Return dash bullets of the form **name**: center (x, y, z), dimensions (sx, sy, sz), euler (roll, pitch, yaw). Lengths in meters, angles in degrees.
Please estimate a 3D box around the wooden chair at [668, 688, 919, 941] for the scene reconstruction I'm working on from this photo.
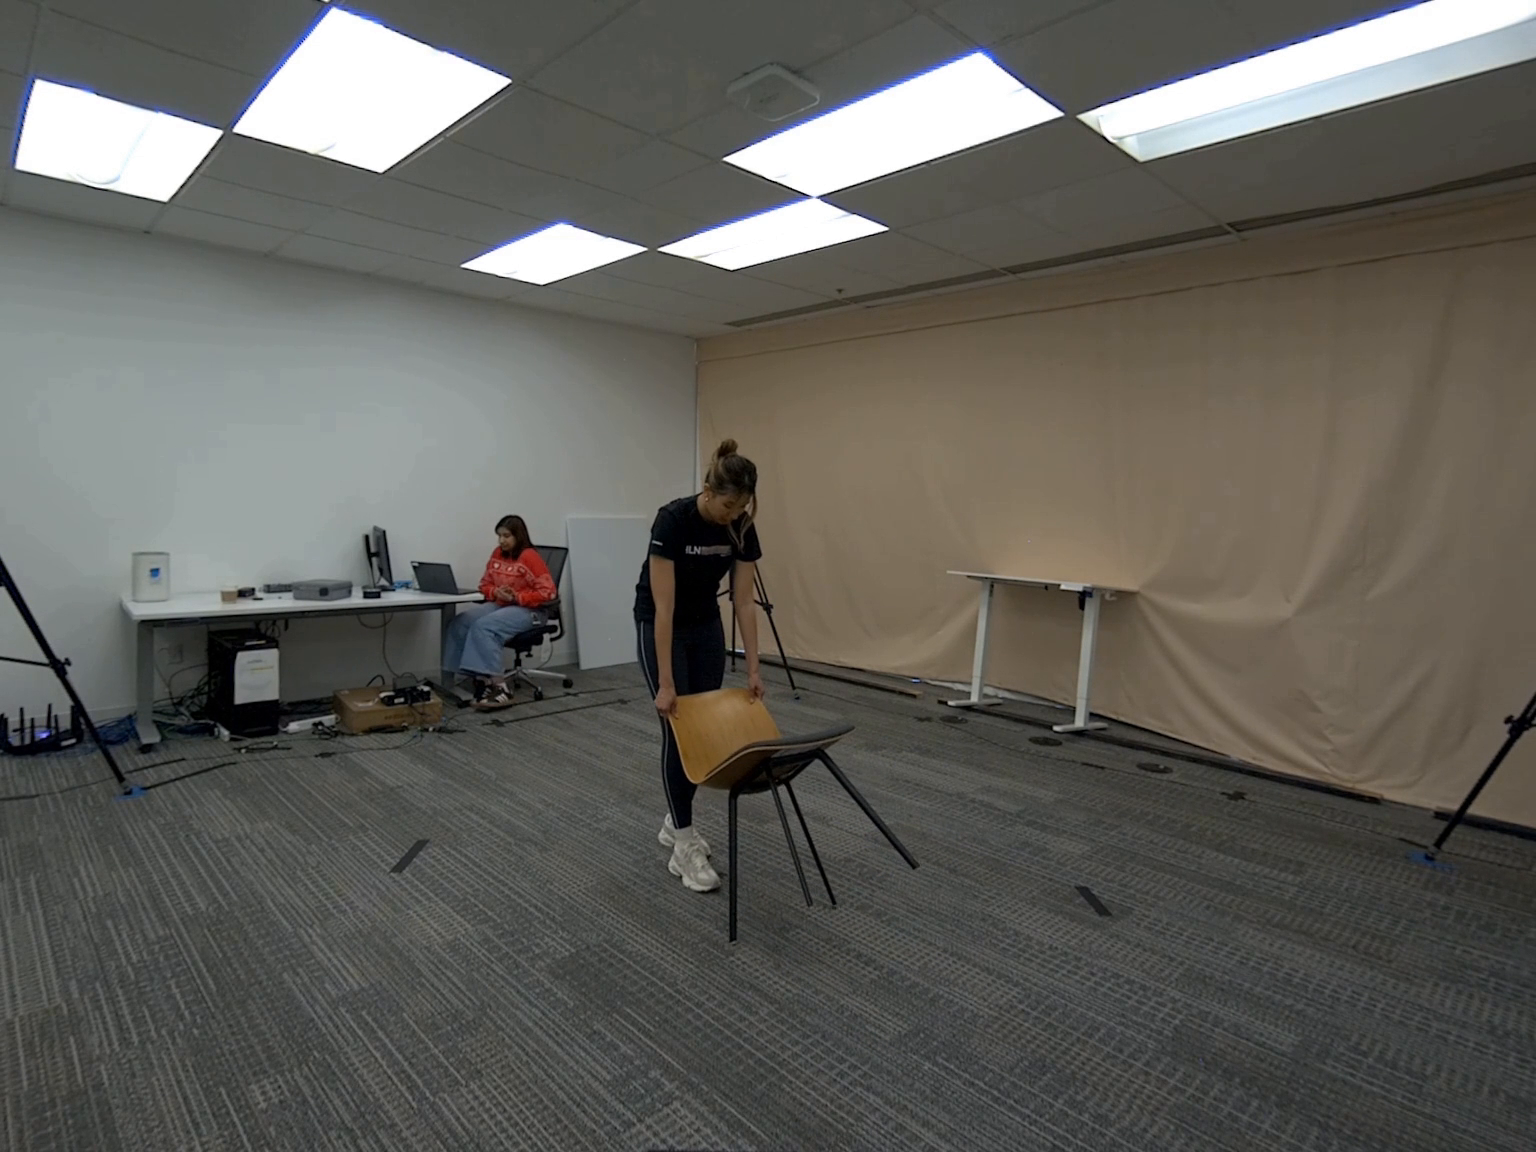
- **wooden chair**: center (0.029, 0.652, 2.771), dimensions (0.467, 0.899, 0.521), euler (-2, -35, -37)
